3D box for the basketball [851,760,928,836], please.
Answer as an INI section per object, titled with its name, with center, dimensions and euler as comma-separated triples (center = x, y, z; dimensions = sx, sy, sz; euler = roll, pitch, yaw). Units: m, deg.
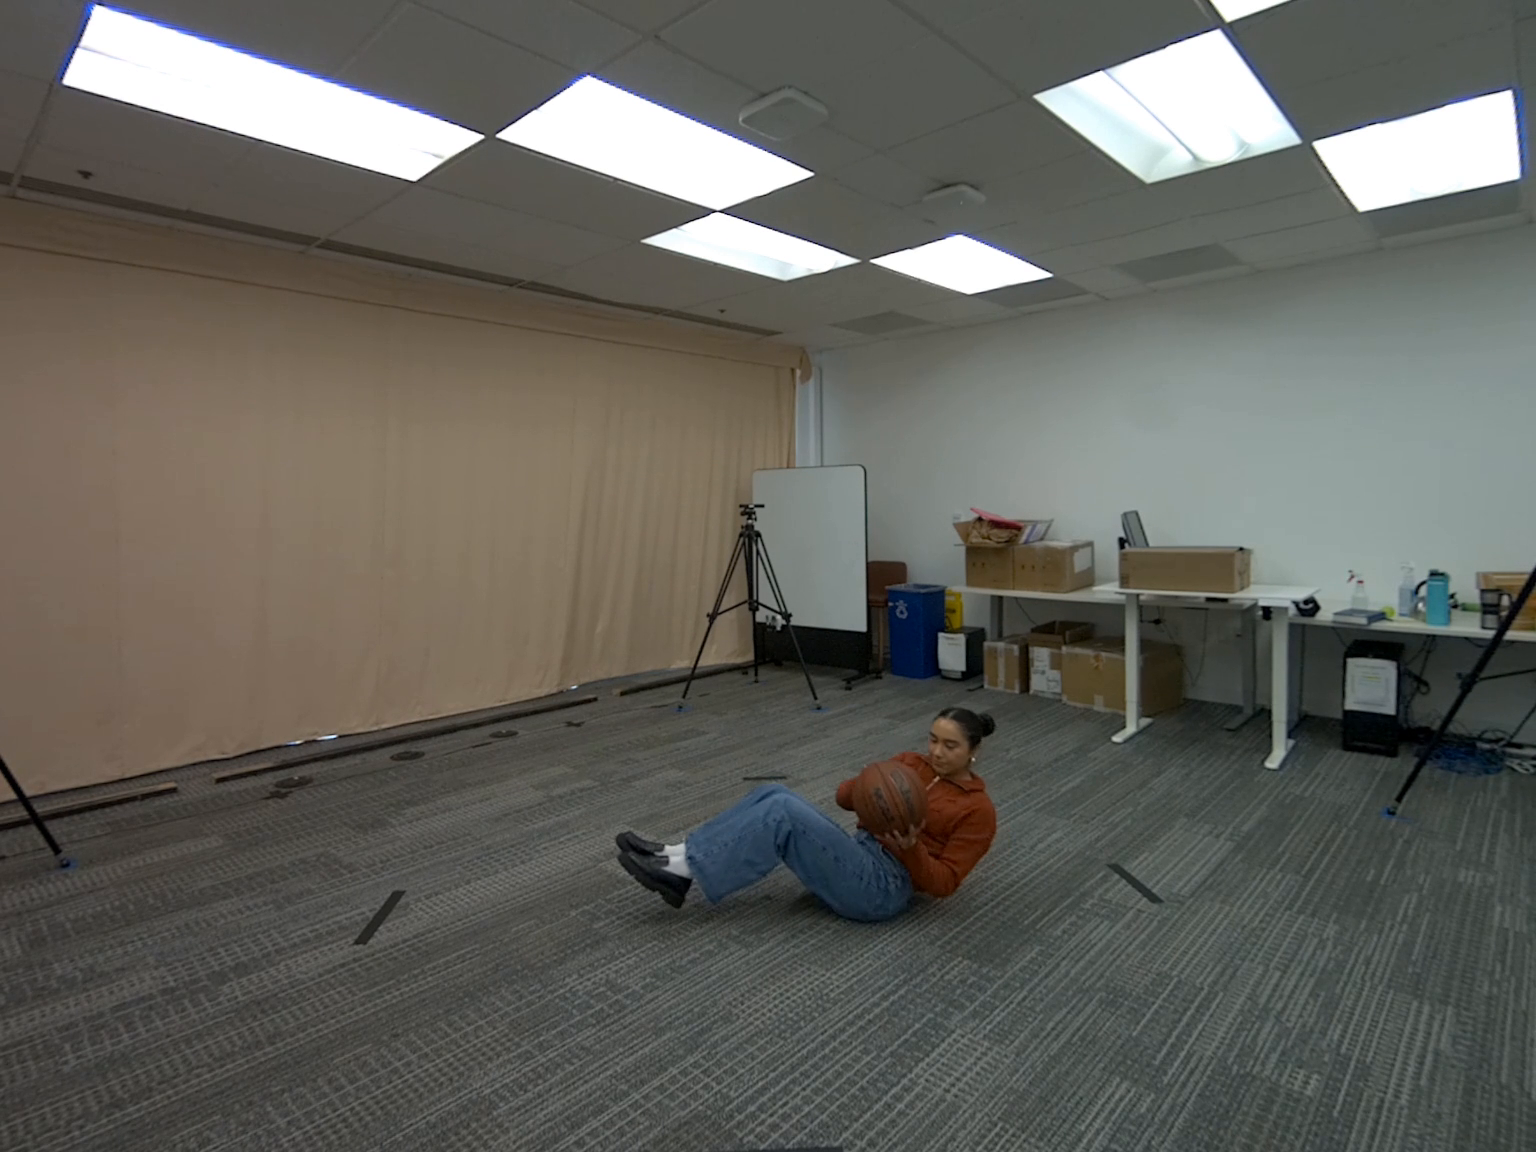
[basketball]
center = 0.395, 0.724, 2.686
dimensions = 0.236, 0.235, 0.237
euler = -1, 4, -2
